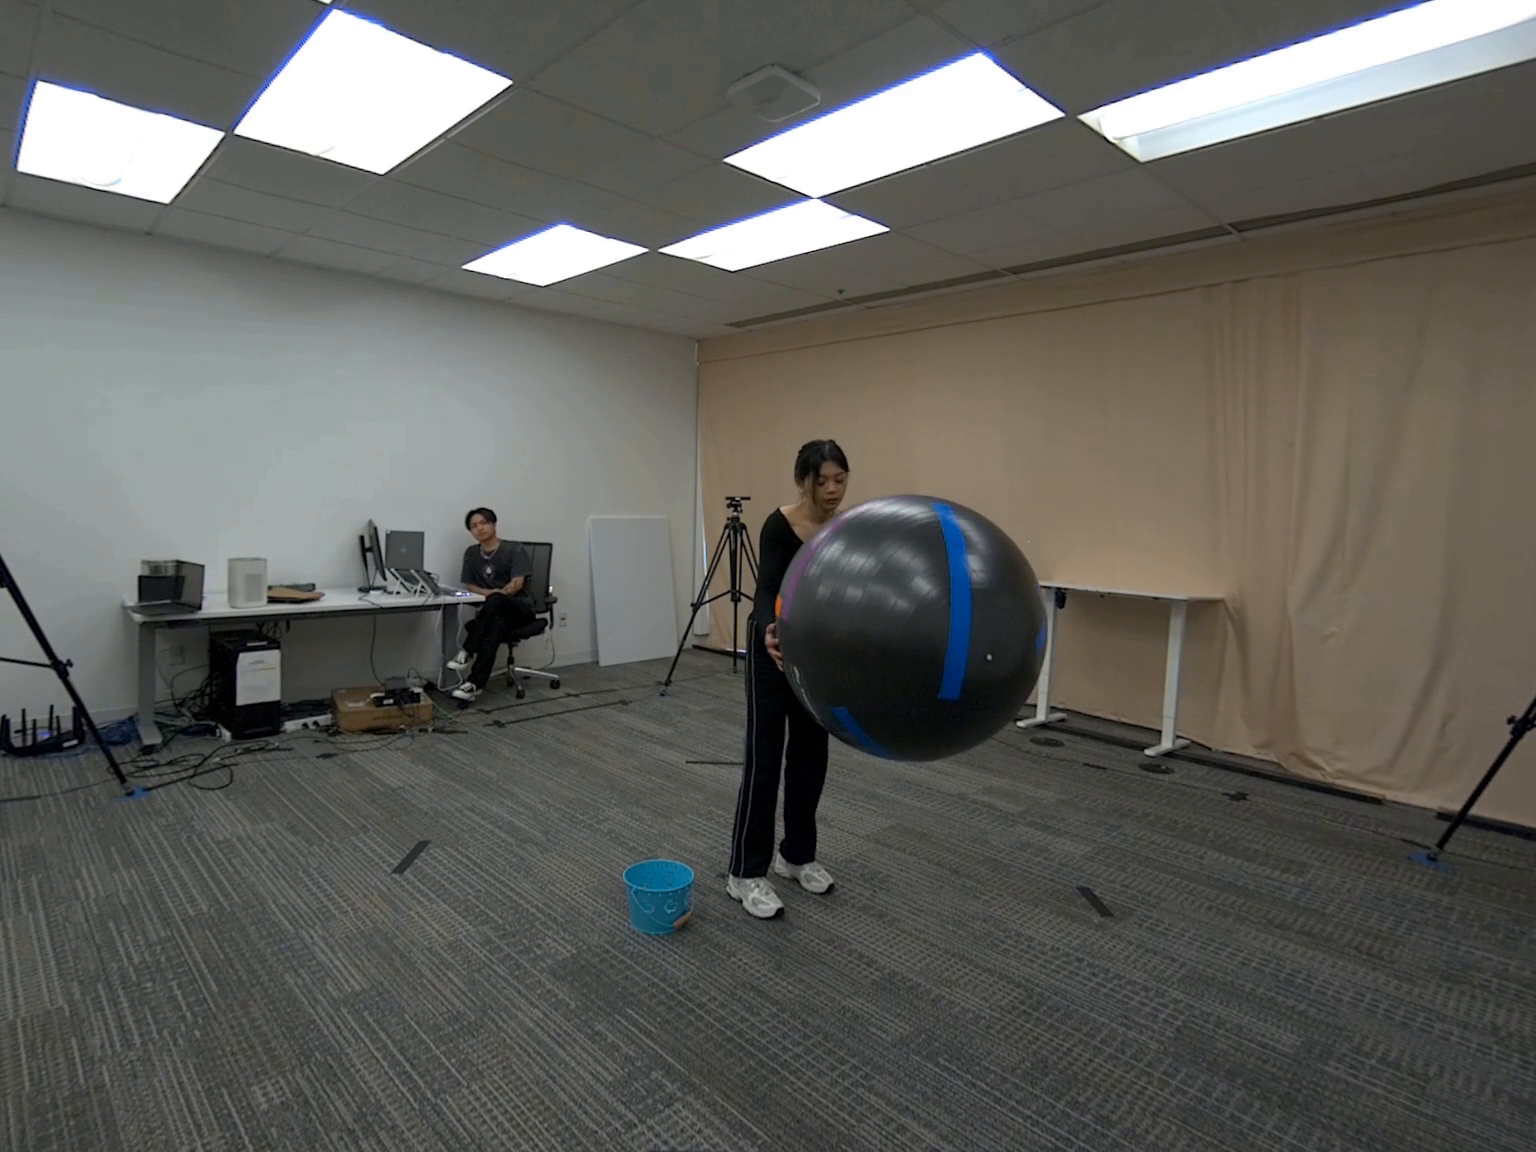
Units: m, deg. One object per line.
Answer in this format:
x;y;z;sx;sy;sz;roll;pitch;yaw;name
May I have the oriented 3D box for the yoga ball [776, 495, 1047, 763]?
0.398;0.163;2.398;0.757;0.756;0.761;1;4;-1;yoga ball
